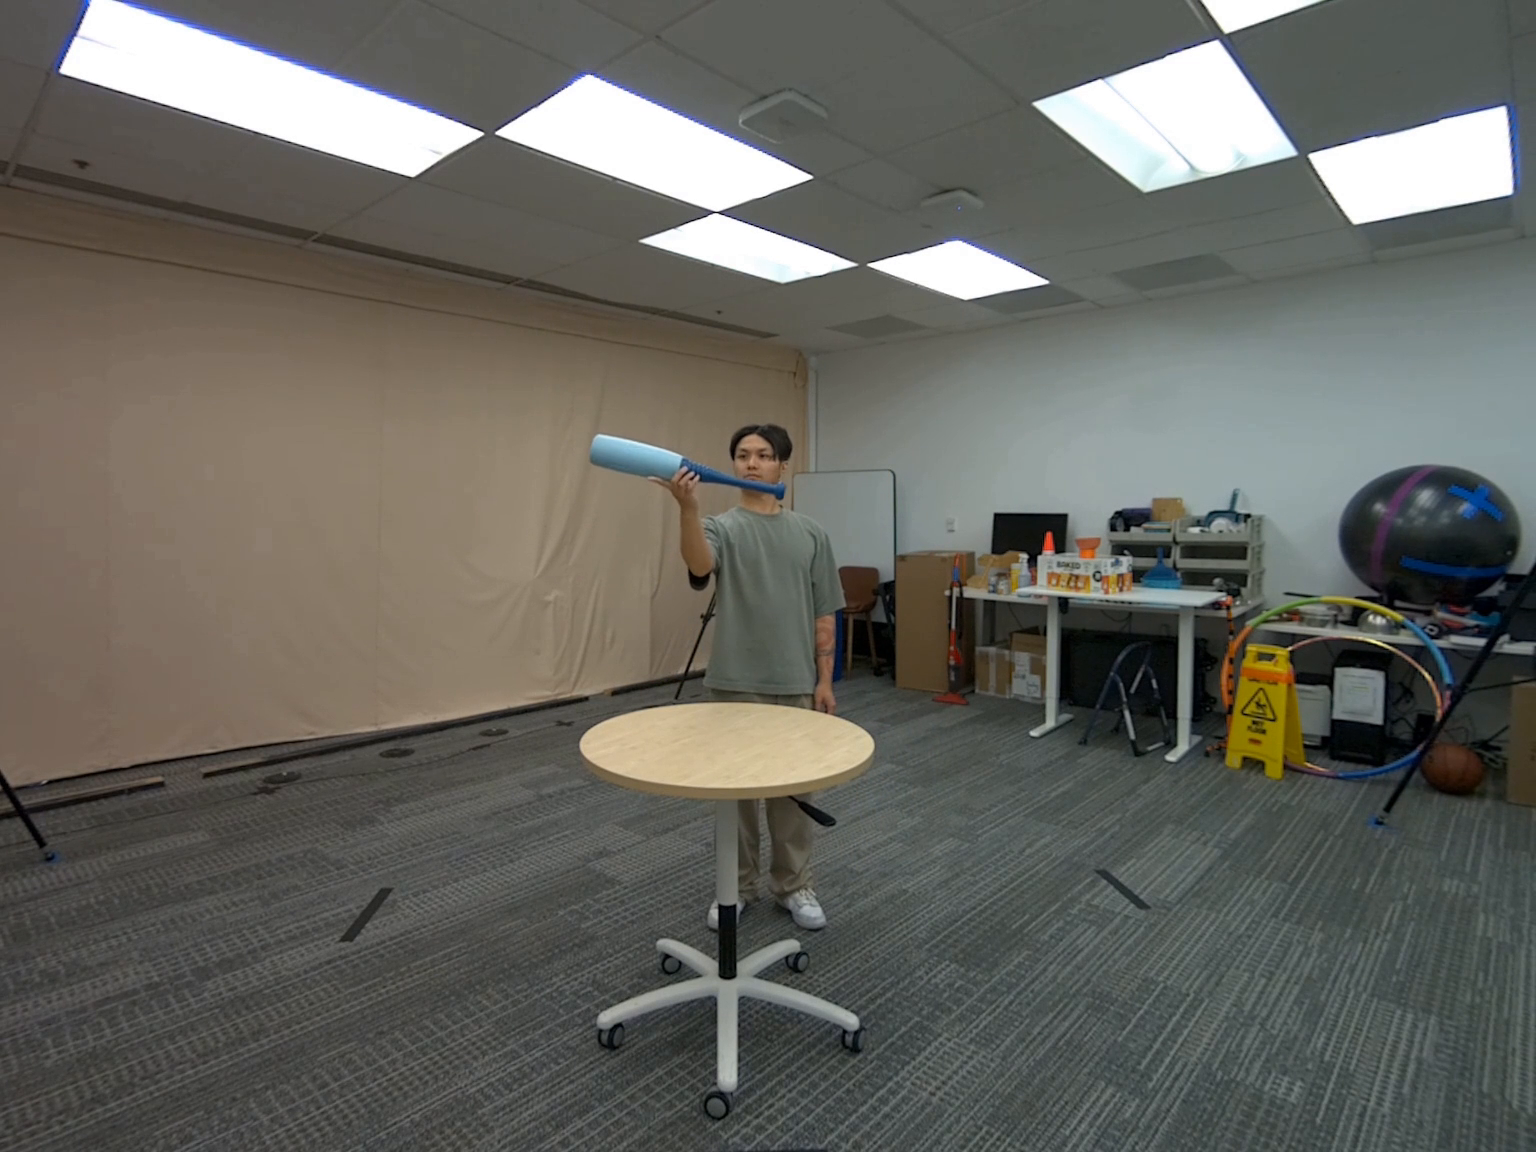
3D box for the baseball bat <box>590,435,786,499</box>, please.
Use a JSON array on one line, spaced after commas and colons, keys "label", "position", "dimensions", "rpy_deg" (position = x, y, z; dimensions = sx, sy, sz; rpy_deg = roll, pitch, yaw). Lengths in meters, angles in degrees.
[{"label": "baseball bat", "position": [-0.213, -0.288, 2.293], "dimensions": [0.545, 0.089, 0.089], "rpy_deg": [14, 4, 3]}]
